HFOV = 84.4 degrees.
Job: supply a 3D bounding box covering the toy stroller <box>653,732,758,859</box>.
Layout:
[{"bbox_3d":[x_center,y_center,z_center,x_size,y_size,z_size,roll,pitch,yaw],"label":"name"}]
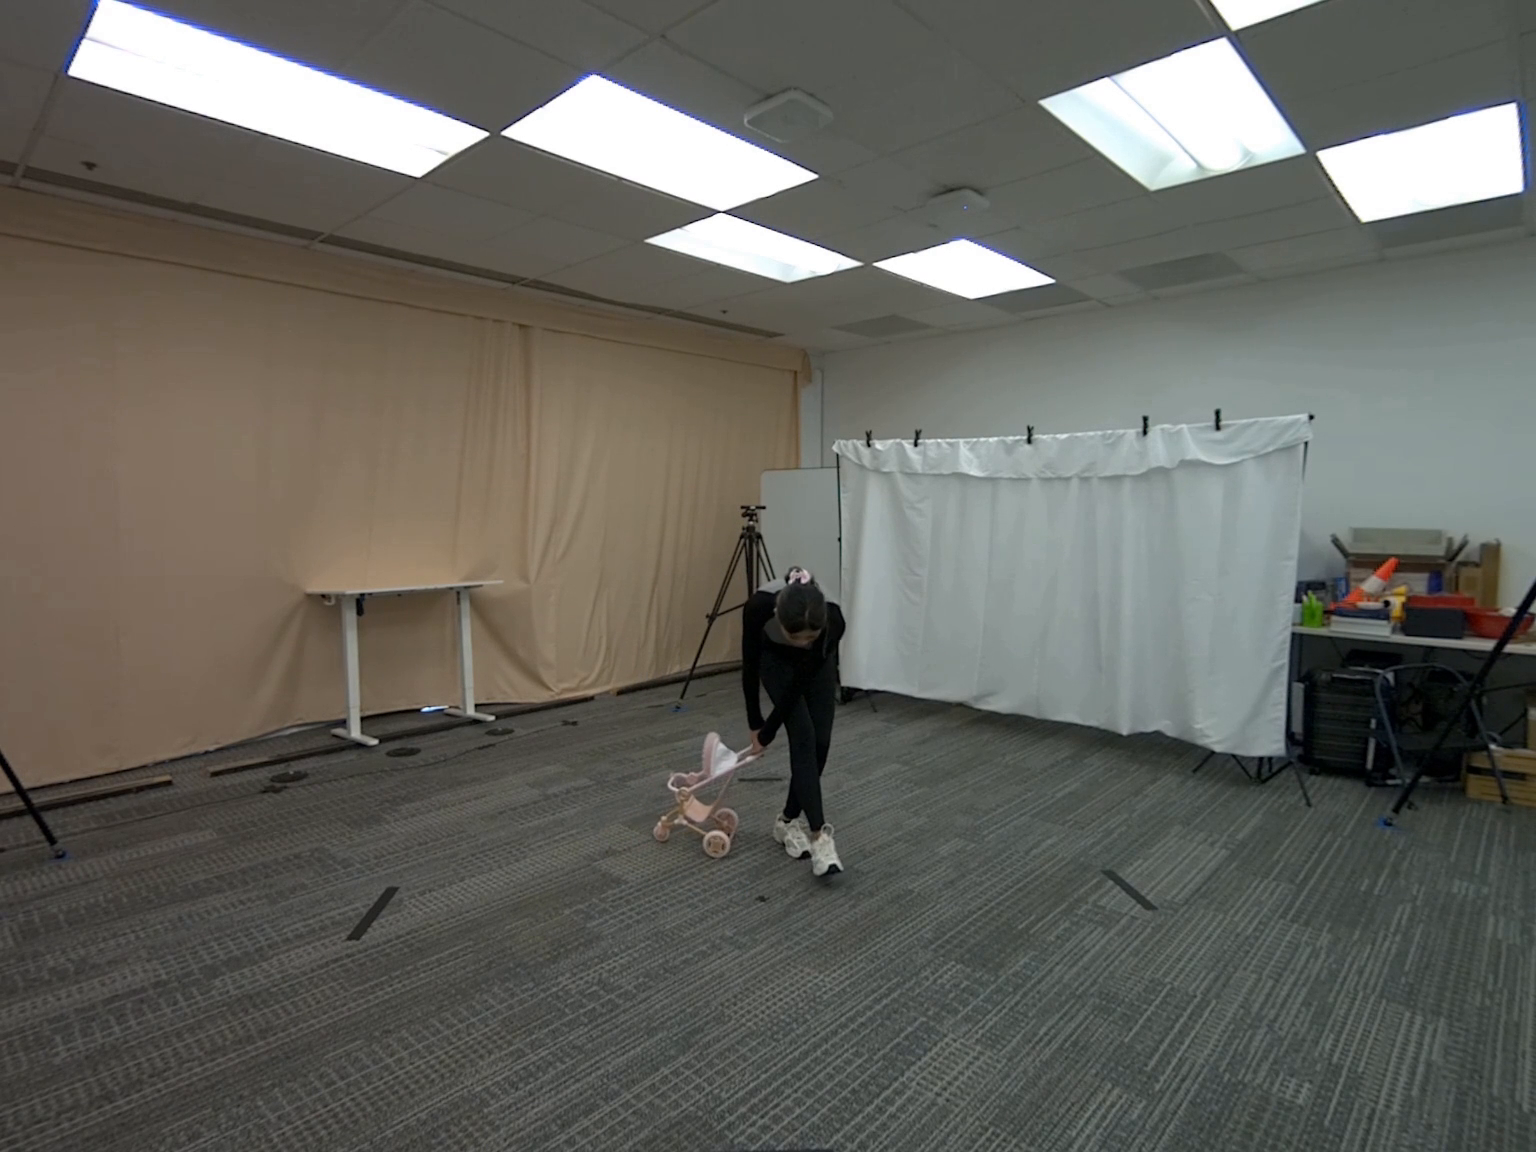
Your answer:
[{"bbox_3d":[-0.253,0.884,3.462,0.347,0.534,0.277,16,6,12],"label":"toy stroller"}]
